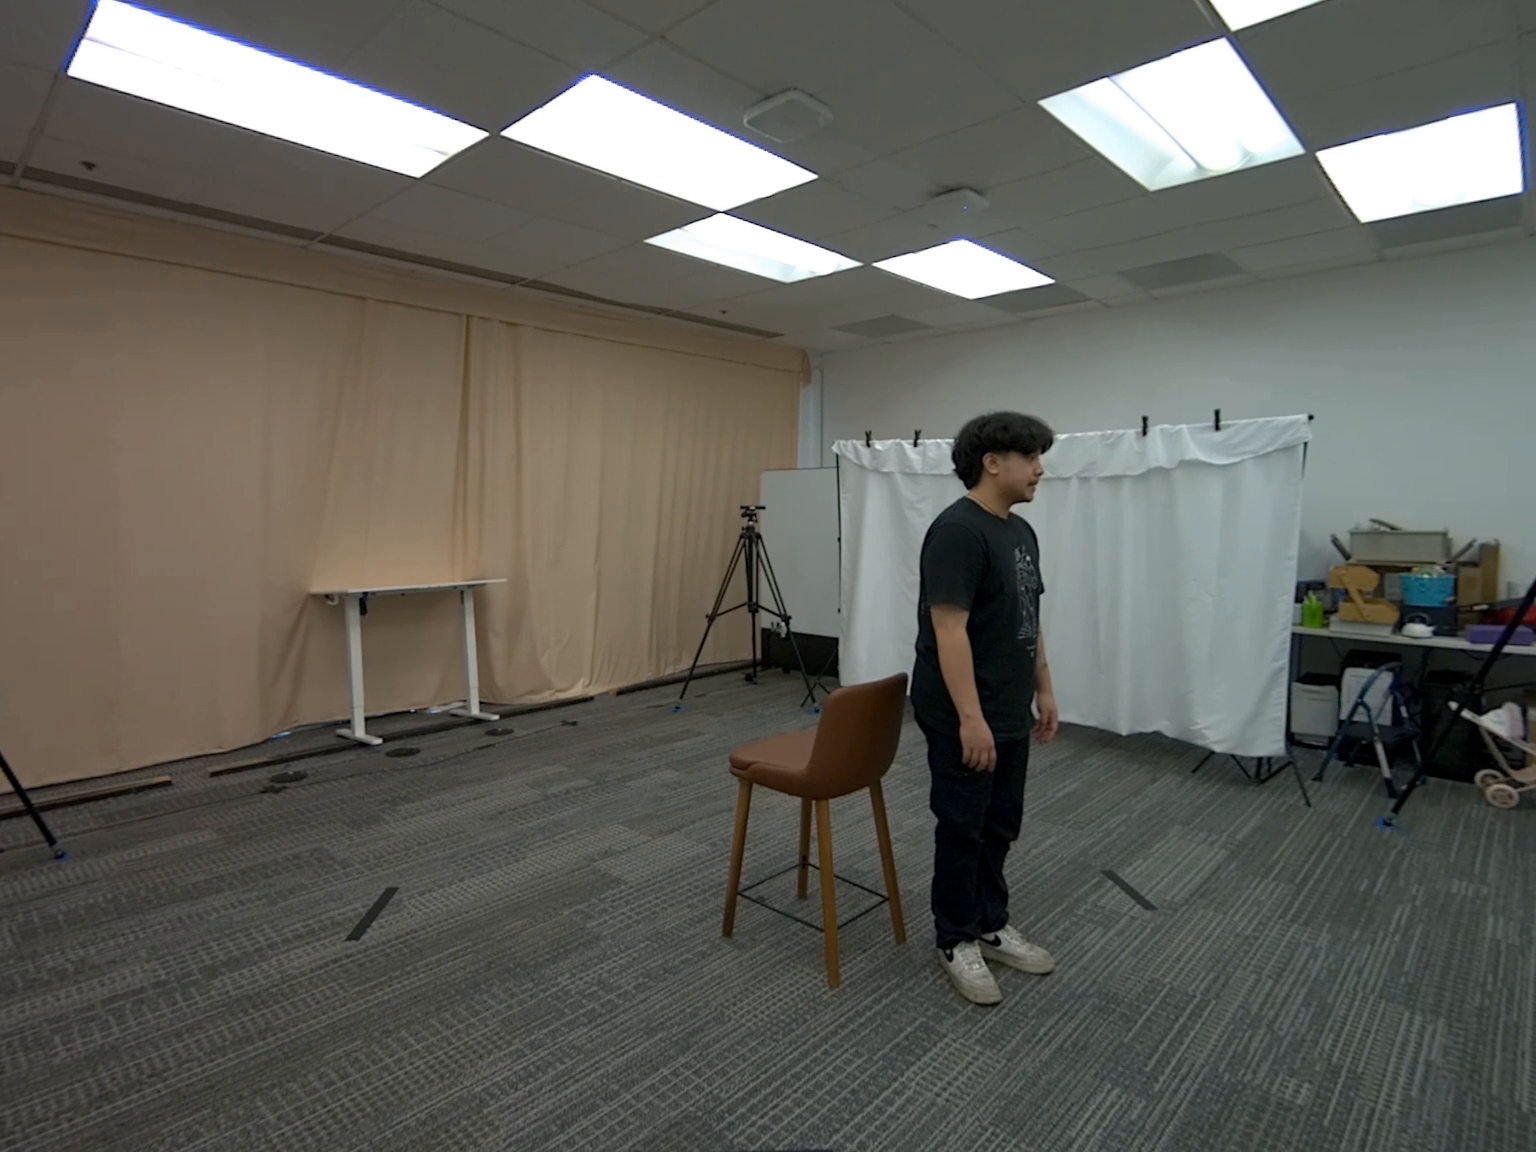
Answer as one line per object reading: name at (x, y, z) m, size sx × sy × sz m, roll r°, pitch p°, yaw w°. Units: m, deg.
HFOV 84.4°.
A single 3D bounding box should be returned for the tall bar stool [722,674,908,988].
tall bar stool at (0.161, 0.731, 2.685) m, size 0.484 × 0.887 × 0.442 m, roll 7°, pitch 7°, yaw 44°
